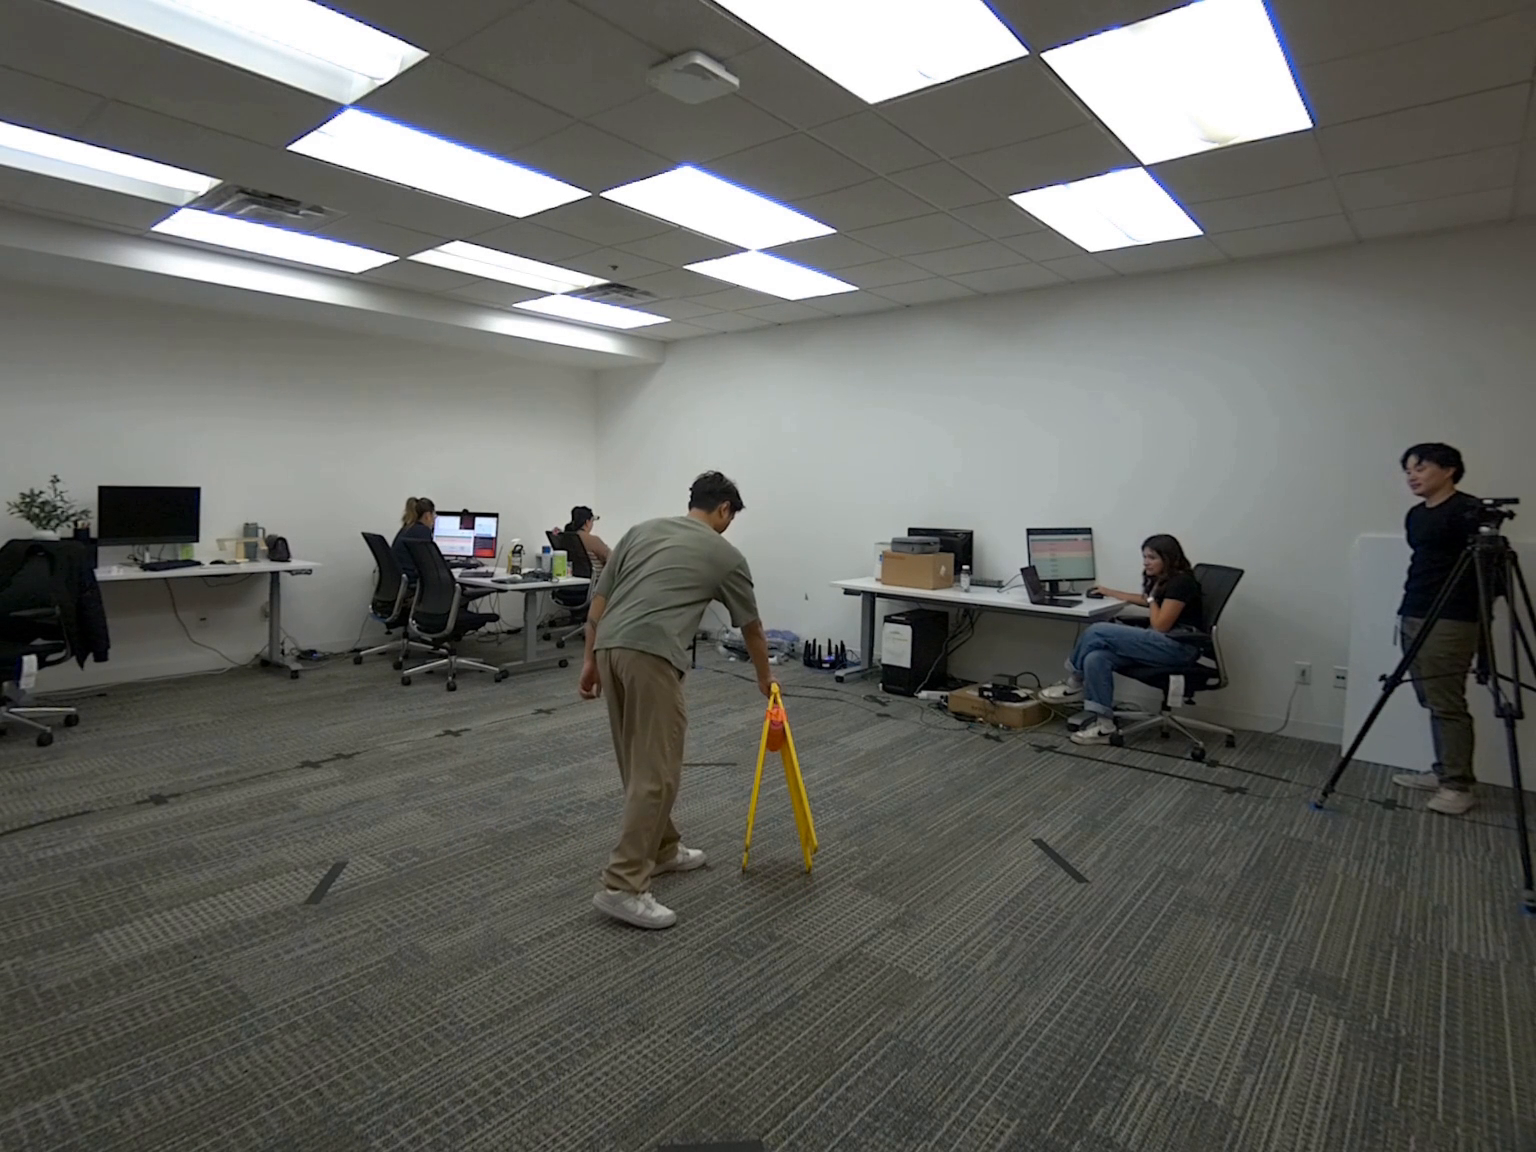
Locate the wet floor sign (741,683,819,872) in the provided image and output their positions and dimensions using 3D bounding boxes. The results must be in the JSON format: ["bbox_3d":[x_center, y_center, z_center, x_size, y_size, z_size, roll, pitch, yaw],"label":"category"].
[{"bbox_3d":[0.022,0.731,3.193,0.289,0.664,0.275,0,-36,-3],"label":"wet floor sign"}]
